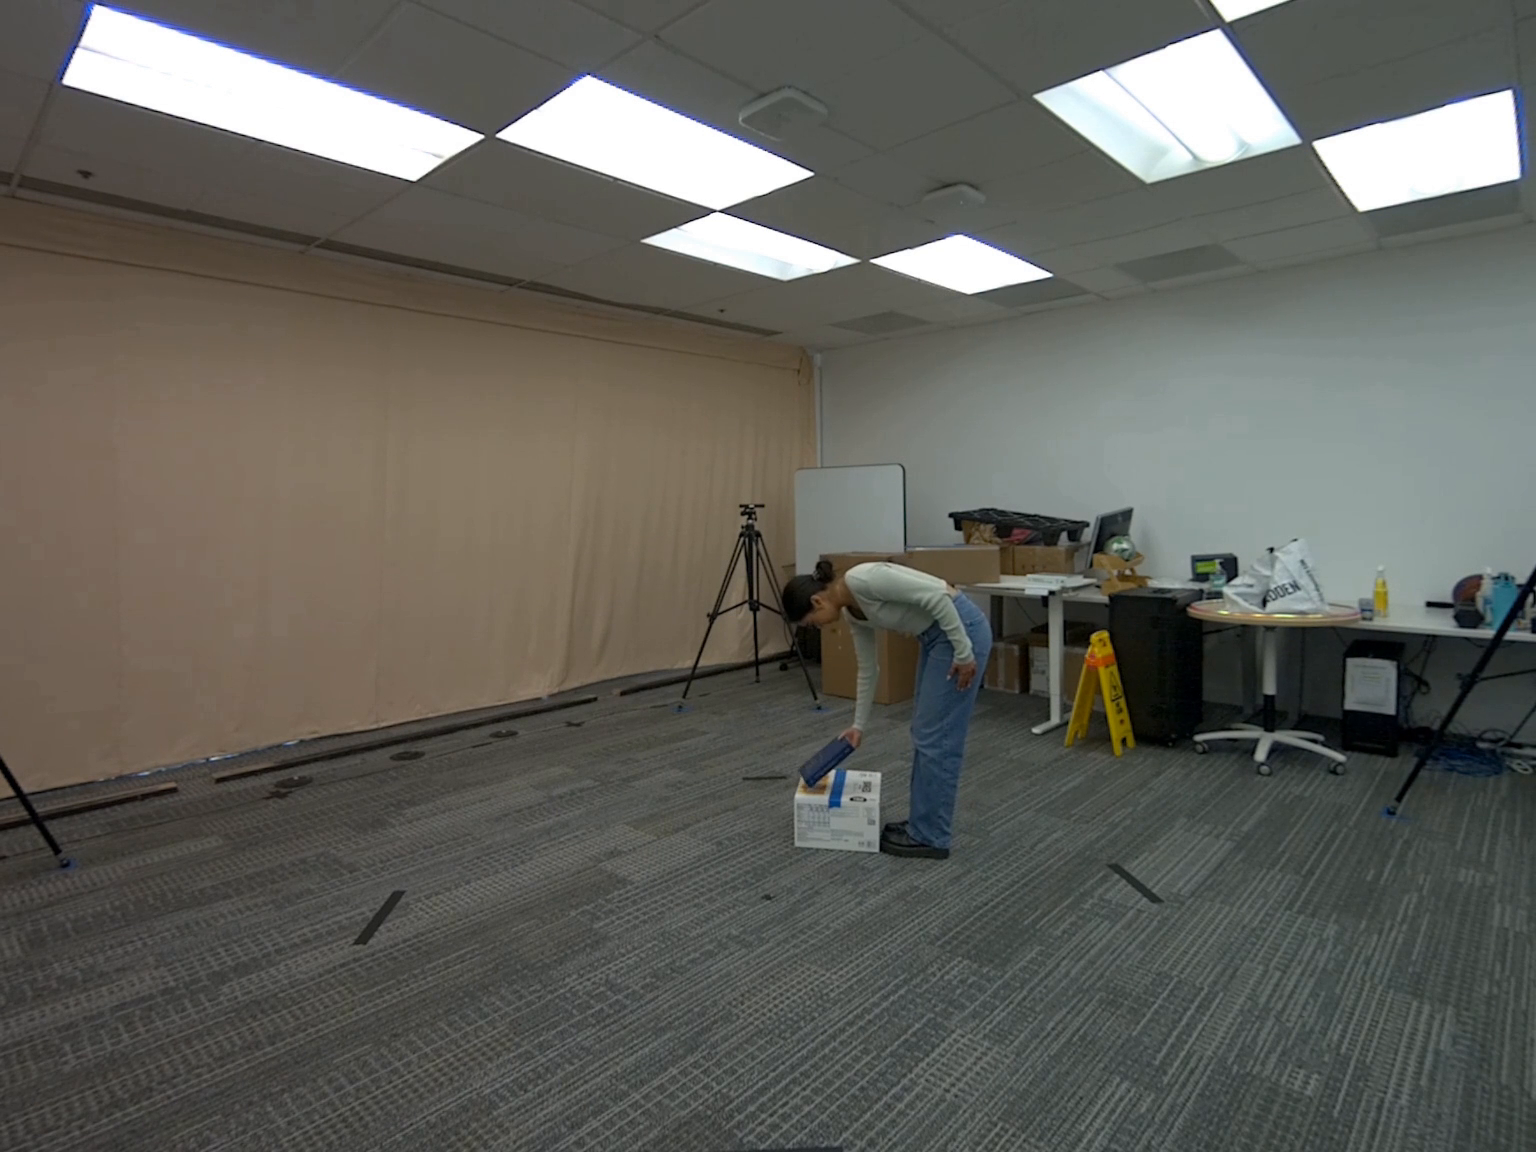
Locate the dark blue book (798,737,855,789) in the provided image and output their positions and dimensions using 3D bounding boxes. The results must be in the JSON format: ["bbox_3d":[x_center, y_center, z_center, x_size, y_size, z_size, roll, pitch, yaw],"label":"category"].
[{"bbox_3d":[0.253,0.771,3.515,0.245,0.045,0.164,-40,6,-2],"label":"dark blue book"}]
